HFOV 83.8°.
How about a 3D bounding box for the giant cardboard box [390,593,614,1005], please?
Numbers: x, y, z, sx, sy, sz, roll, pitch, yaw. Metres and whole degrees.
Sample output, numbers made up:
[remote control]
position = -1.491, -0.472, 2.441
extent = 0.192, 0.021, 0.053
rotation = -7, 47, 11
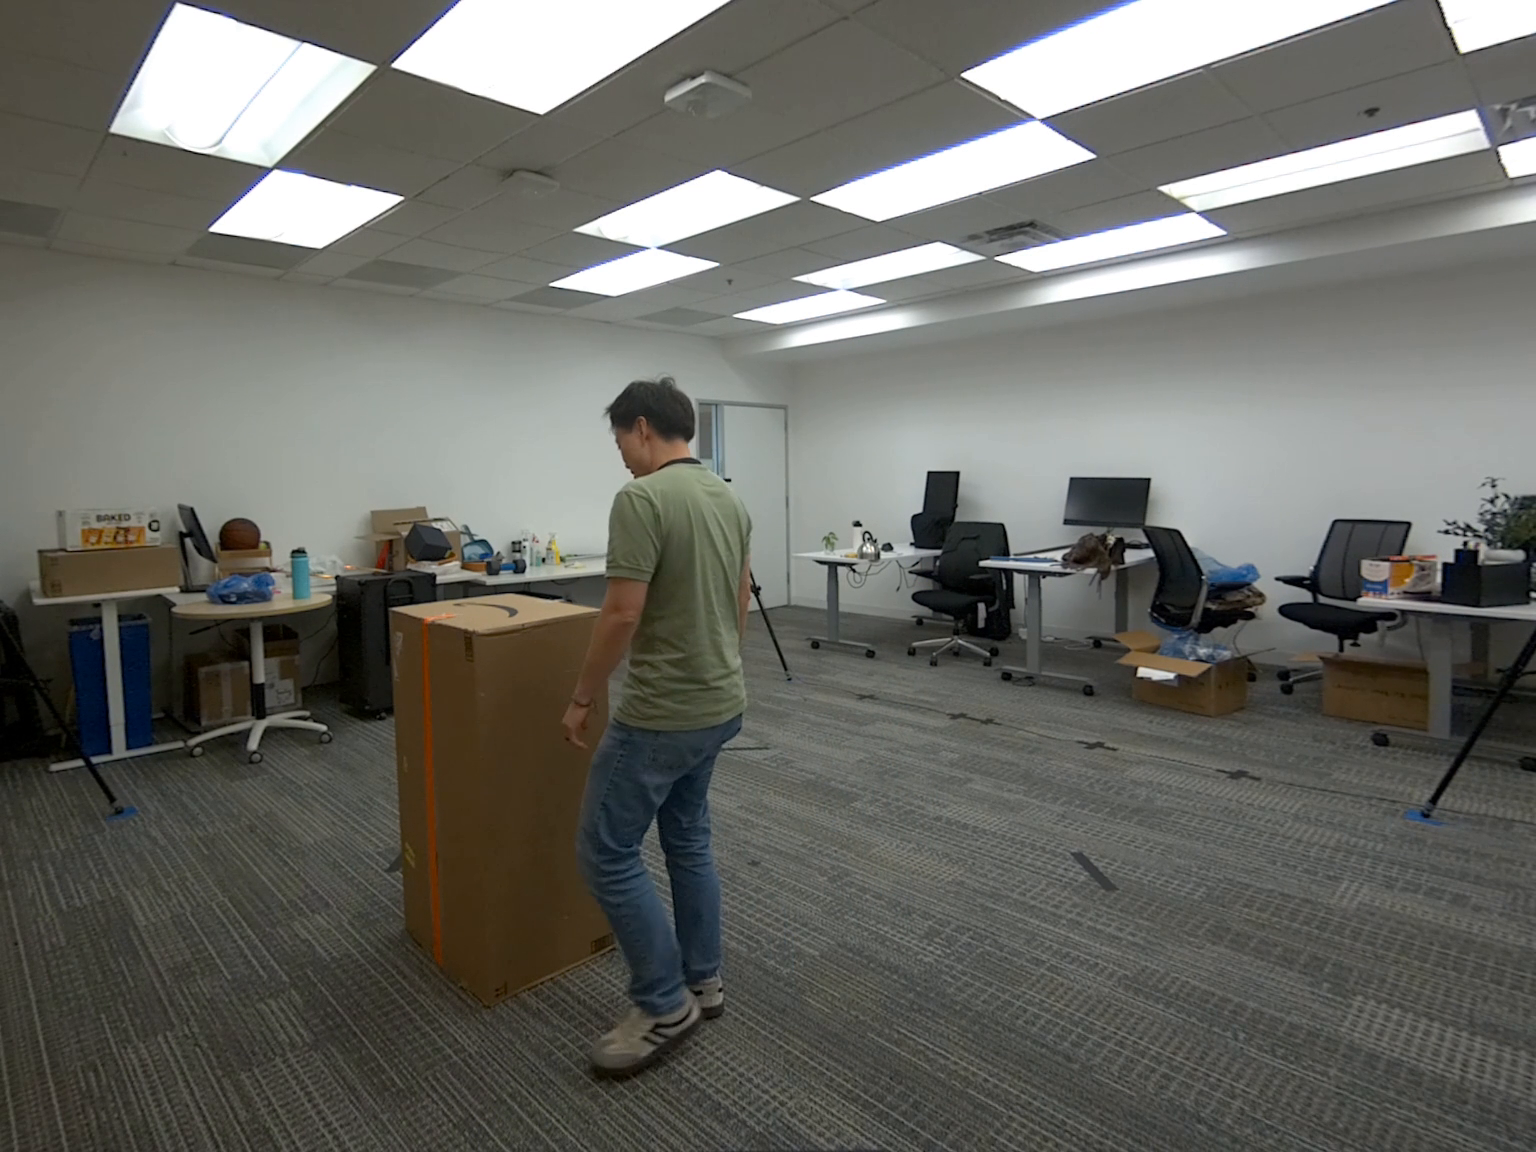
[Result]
[giant cardboard box]
position = -0.810, 0.607, 2.592
extent = 0.415, 1.021, 0.595
rotation = -6, 6, -43
